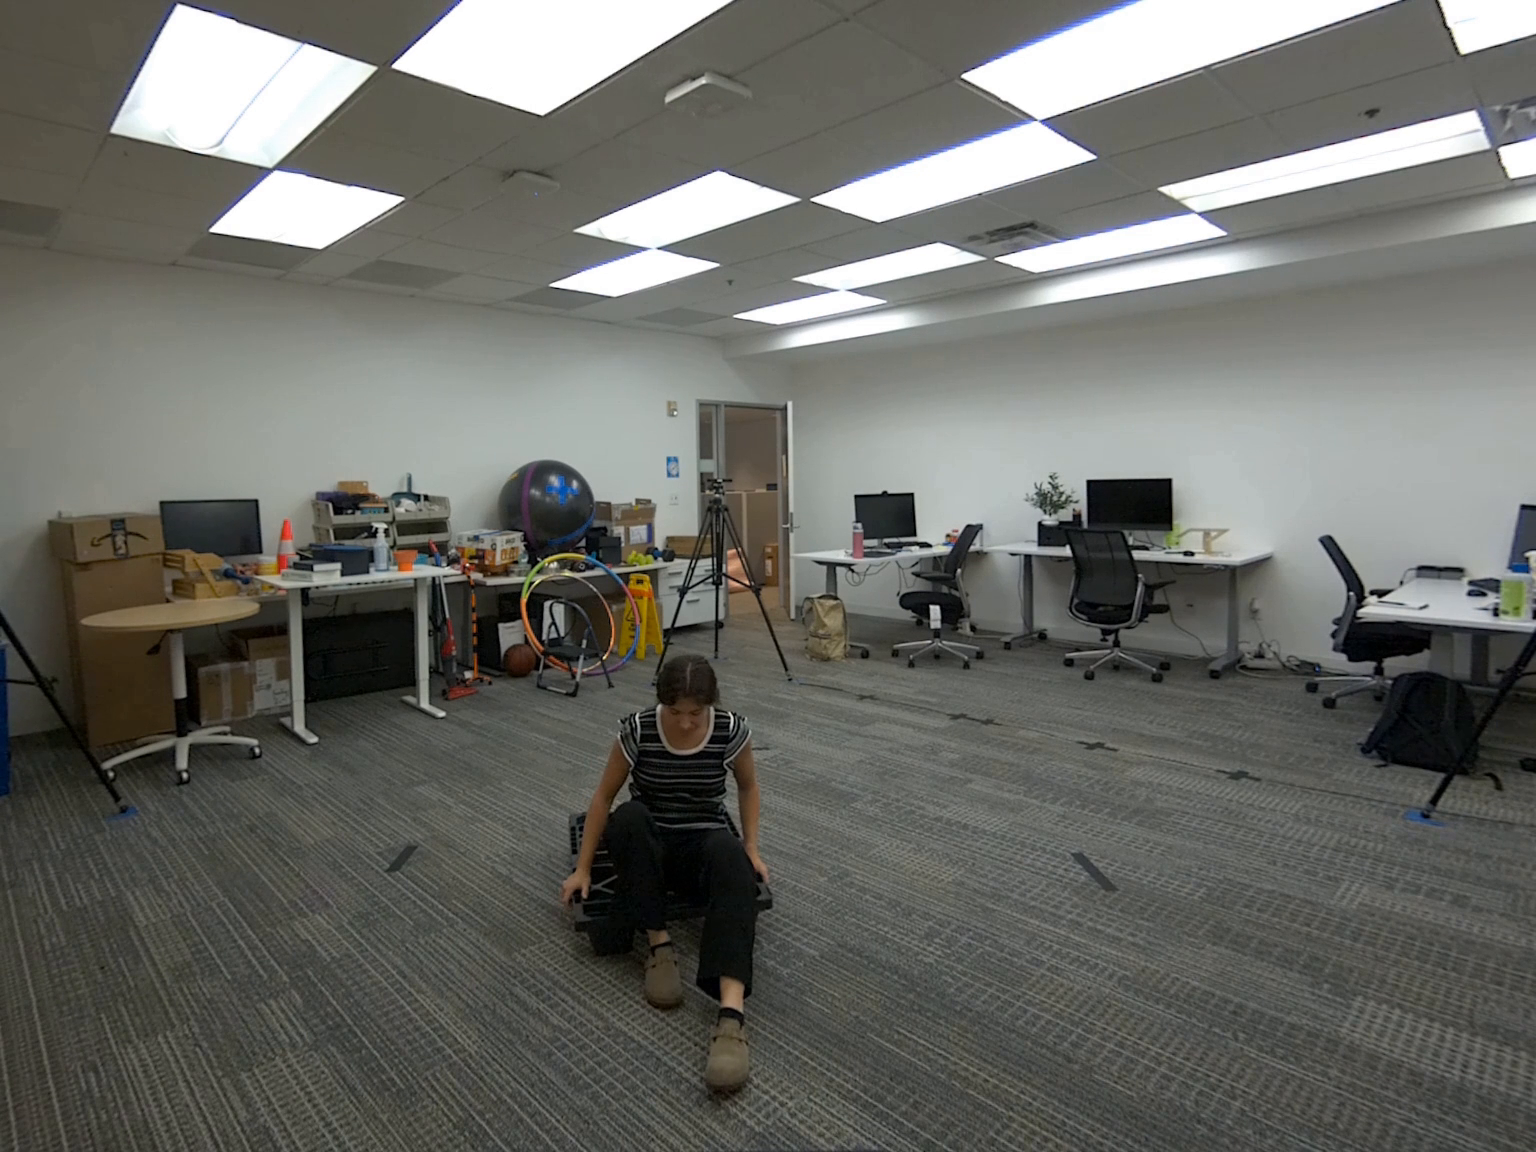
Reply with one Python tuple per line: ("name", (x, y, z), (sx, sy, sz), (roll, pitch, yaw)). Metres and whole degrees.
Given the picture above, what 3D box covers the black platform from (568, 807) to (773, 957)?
("black platform", (-0.366, 1.005, 2.916), (0.599, 0.142, 0.819), (-4, 8, -13))
